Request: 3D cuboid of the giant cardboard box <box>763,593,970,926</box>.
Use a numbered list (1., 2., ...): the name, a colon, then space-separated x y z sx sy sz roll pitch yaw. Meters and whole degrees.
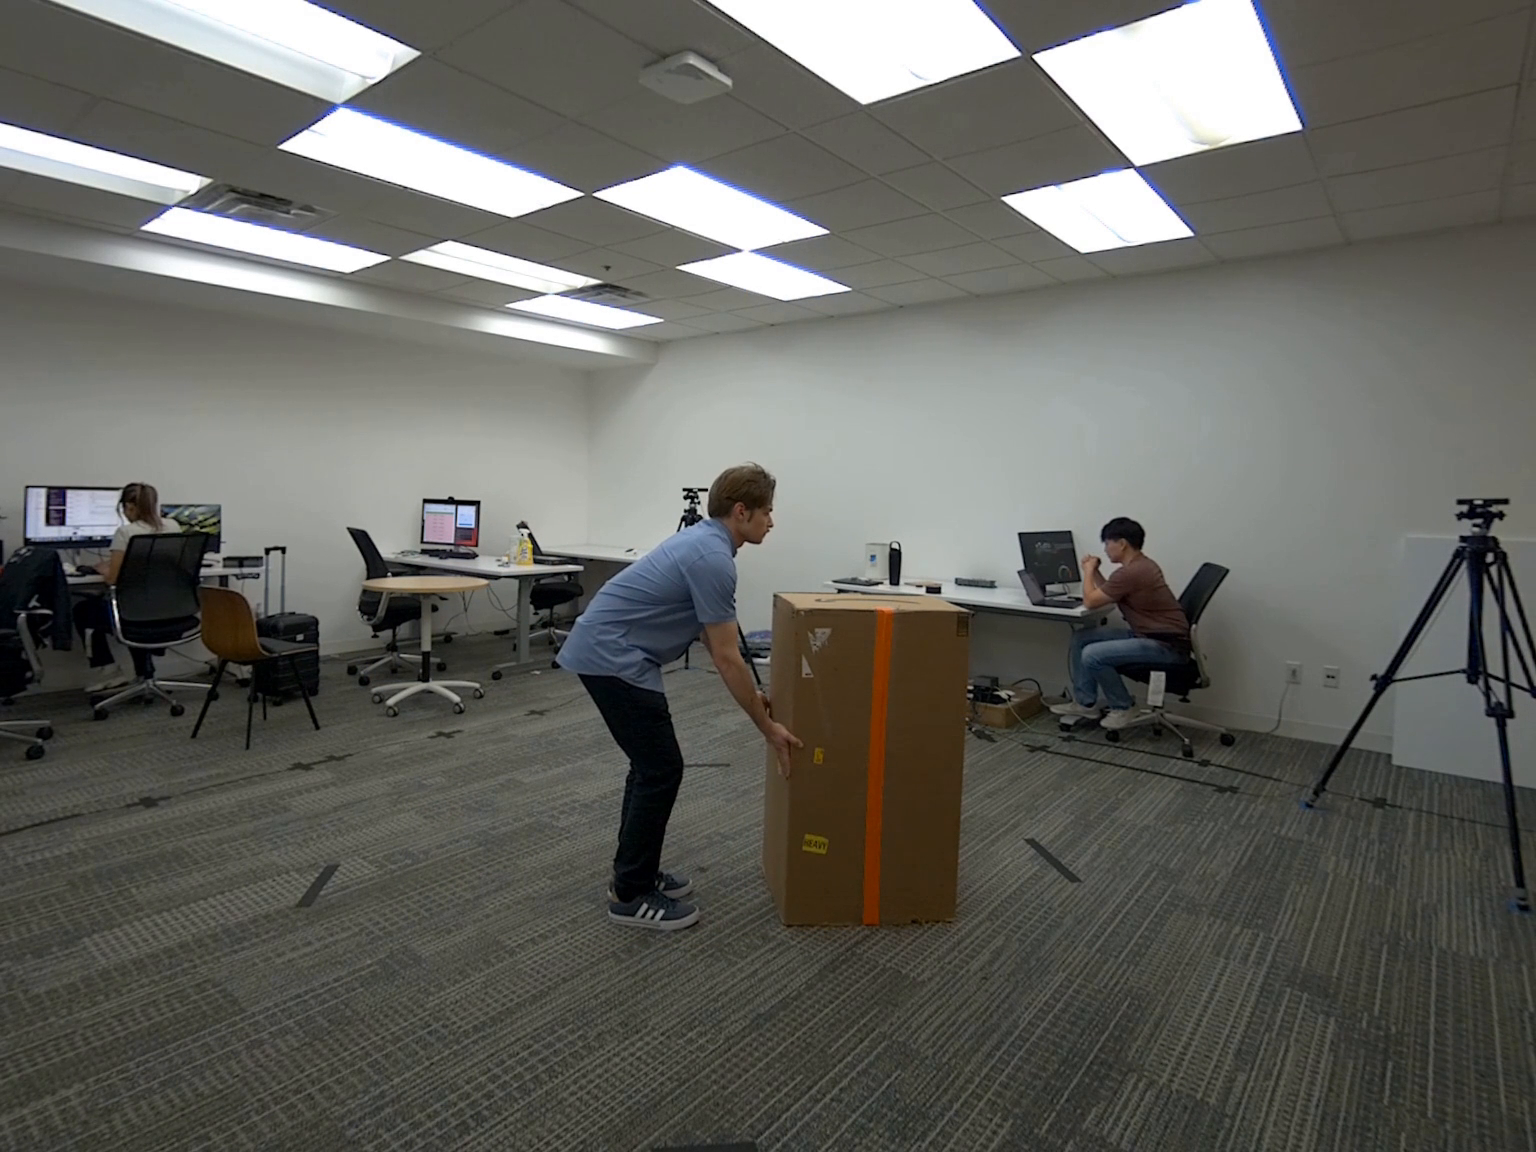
1. giant cardboard box: 0.311 0.592 2.915 0.573 1.022 0.431 1 4 -8
